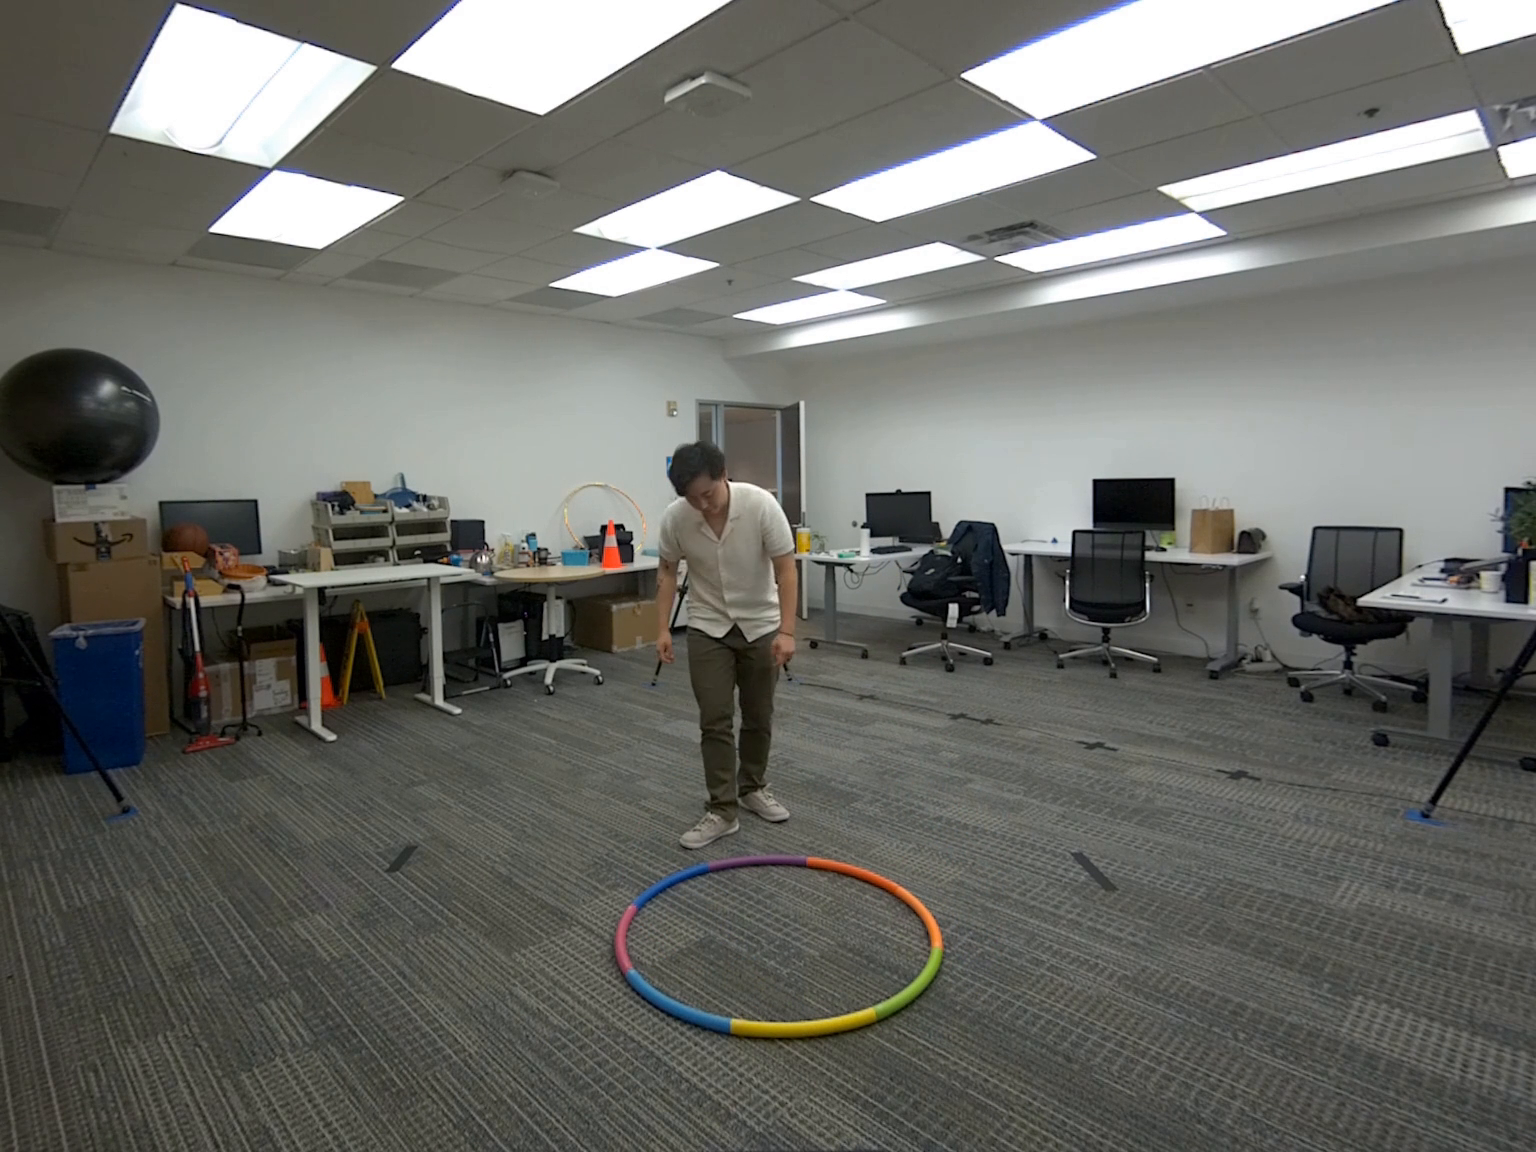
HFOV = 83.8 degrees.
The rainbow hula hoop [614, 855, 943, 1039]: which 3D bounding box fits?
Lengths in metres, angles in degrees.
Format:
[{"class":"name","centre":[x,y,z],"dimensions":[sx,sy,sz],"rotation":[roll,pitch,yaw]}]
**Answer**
[{"class":"rainbow hula hoop","centre":[0.030,1.069,2.620],"dimensions":[0.978,0.035,0.984],"rotation":[-1,6,-2]}]
